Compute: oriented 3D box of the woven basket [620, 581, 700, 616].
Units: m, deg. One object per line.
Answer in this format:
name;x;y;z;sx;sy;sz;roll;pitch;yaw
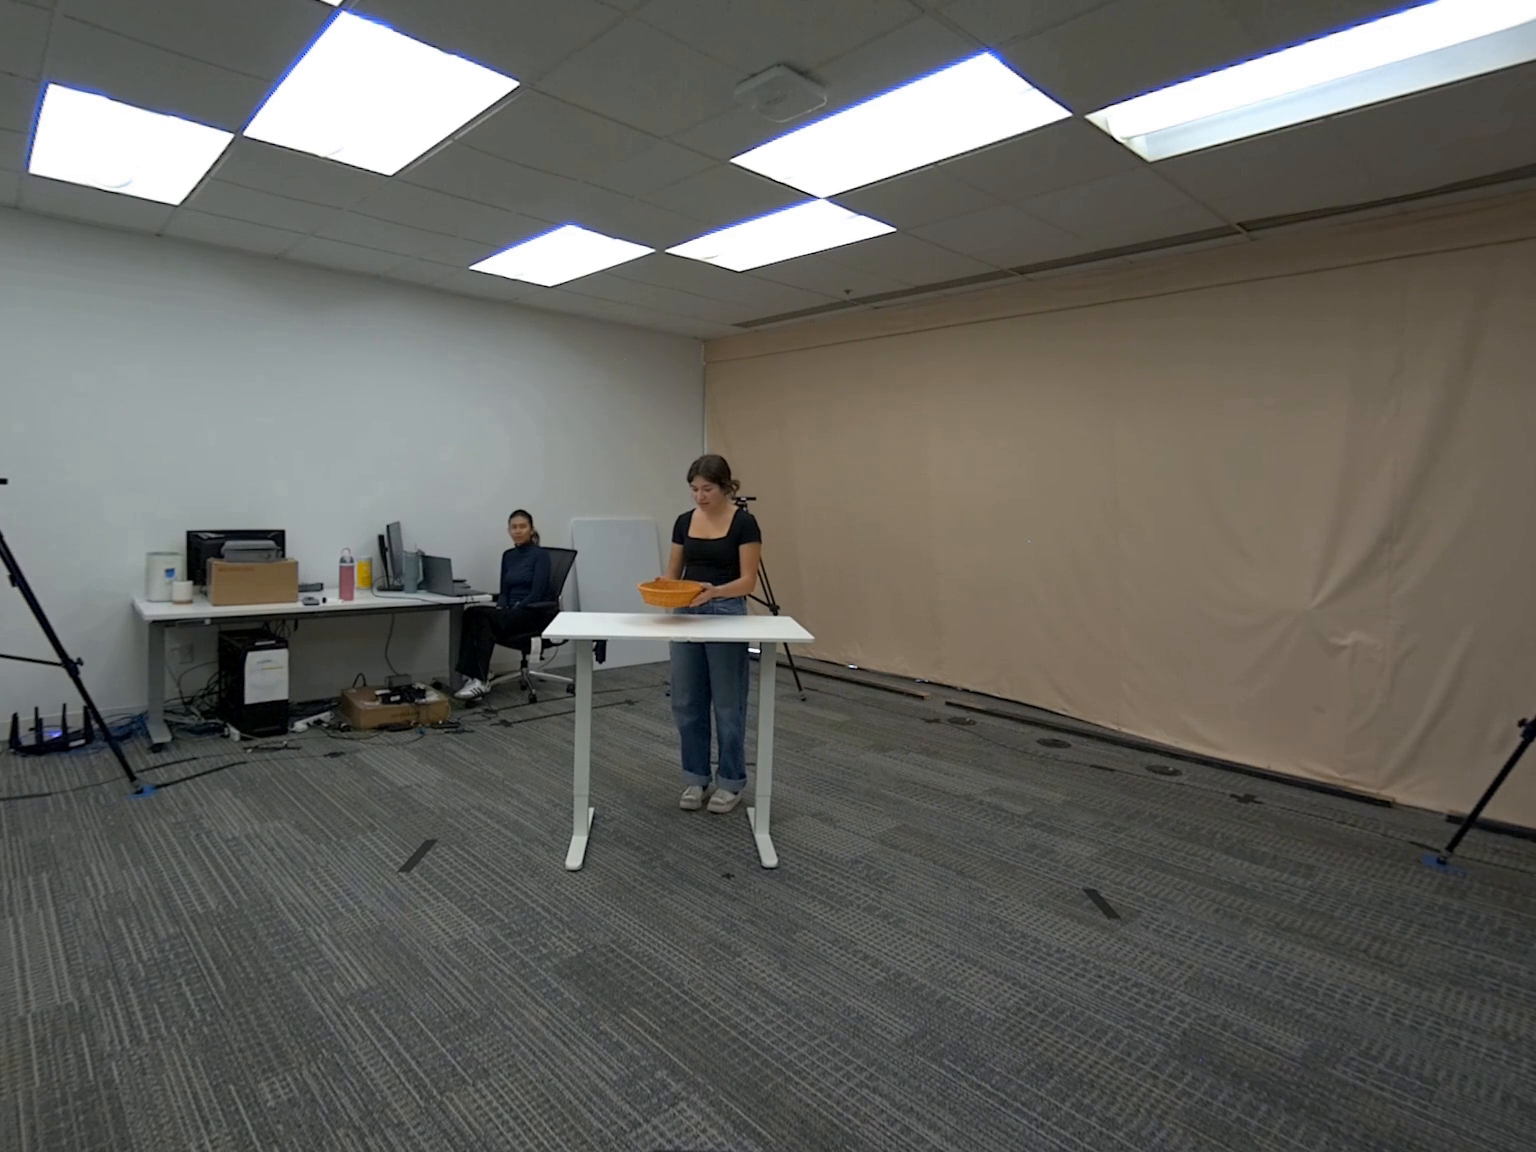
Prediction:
woven basket;-0.420;0.085;3.476;0.255;0.073;0.348;4;7;13
